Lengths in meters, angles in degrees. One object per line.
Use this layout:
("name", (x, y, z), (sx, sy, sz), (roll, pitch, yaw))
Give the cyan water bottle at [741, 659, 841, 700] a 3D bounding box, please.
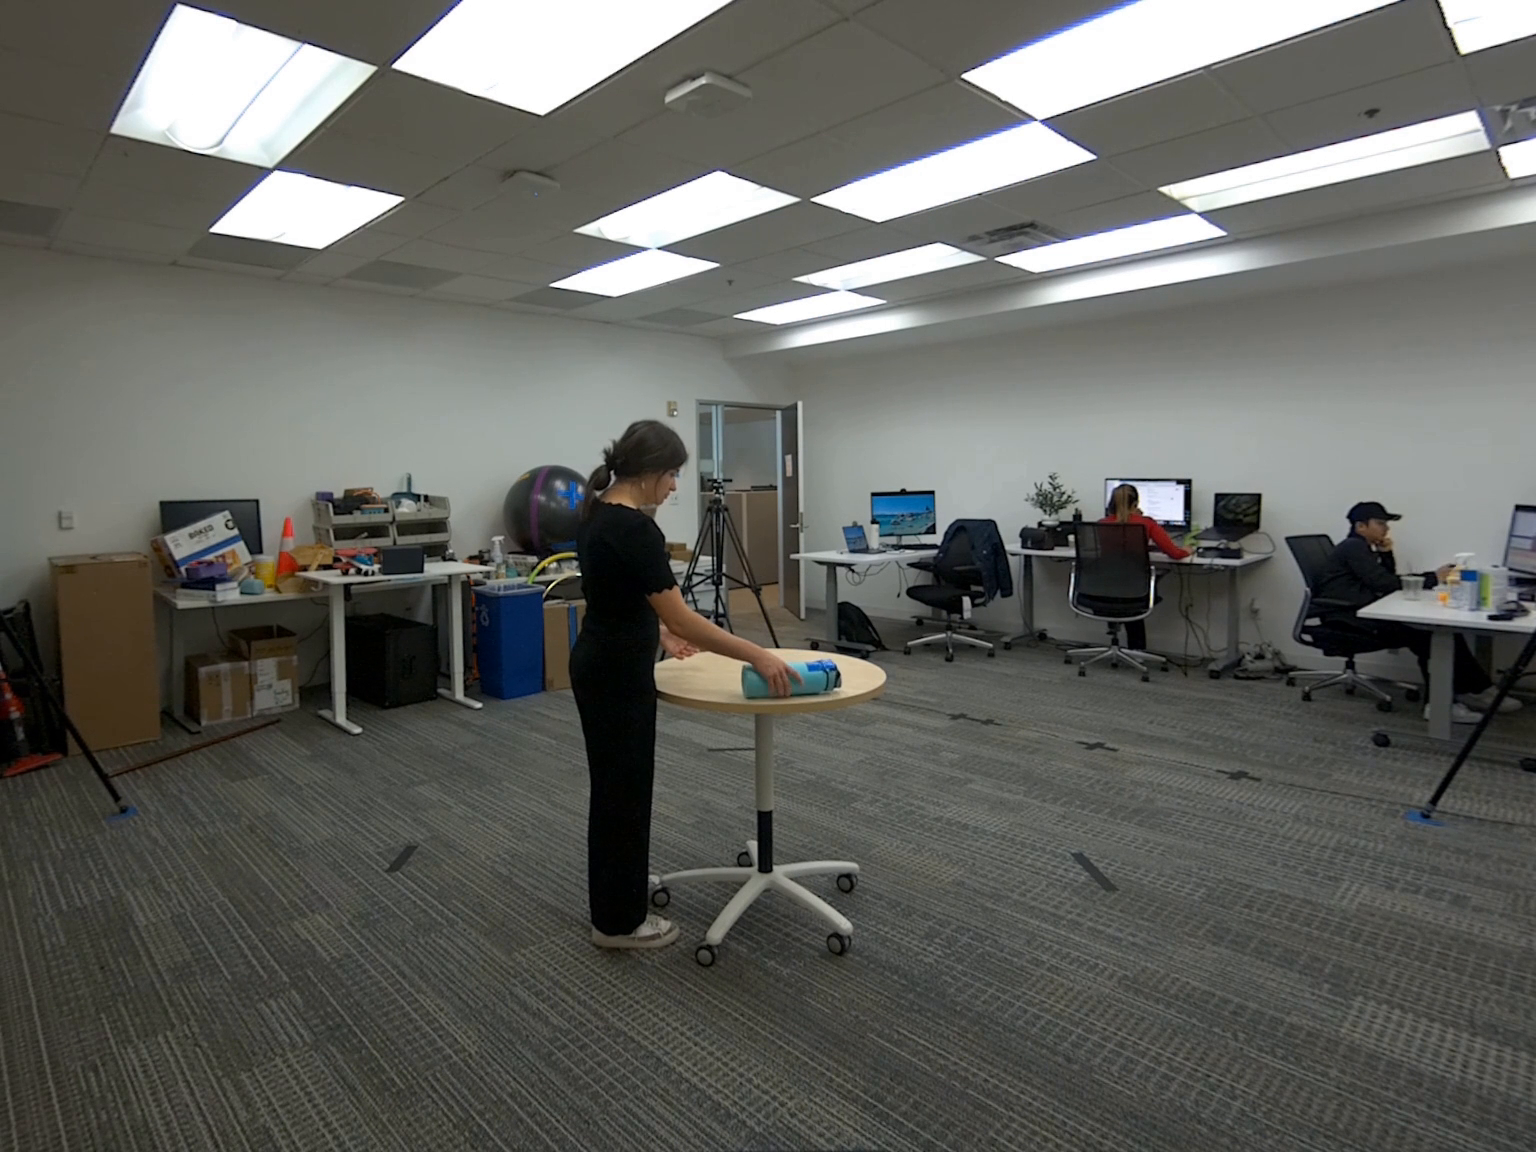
("cyan water bottle", (0.069, 0.275, 2.422), (0.280, 0.092, 0.093), (1, 4, -11))
